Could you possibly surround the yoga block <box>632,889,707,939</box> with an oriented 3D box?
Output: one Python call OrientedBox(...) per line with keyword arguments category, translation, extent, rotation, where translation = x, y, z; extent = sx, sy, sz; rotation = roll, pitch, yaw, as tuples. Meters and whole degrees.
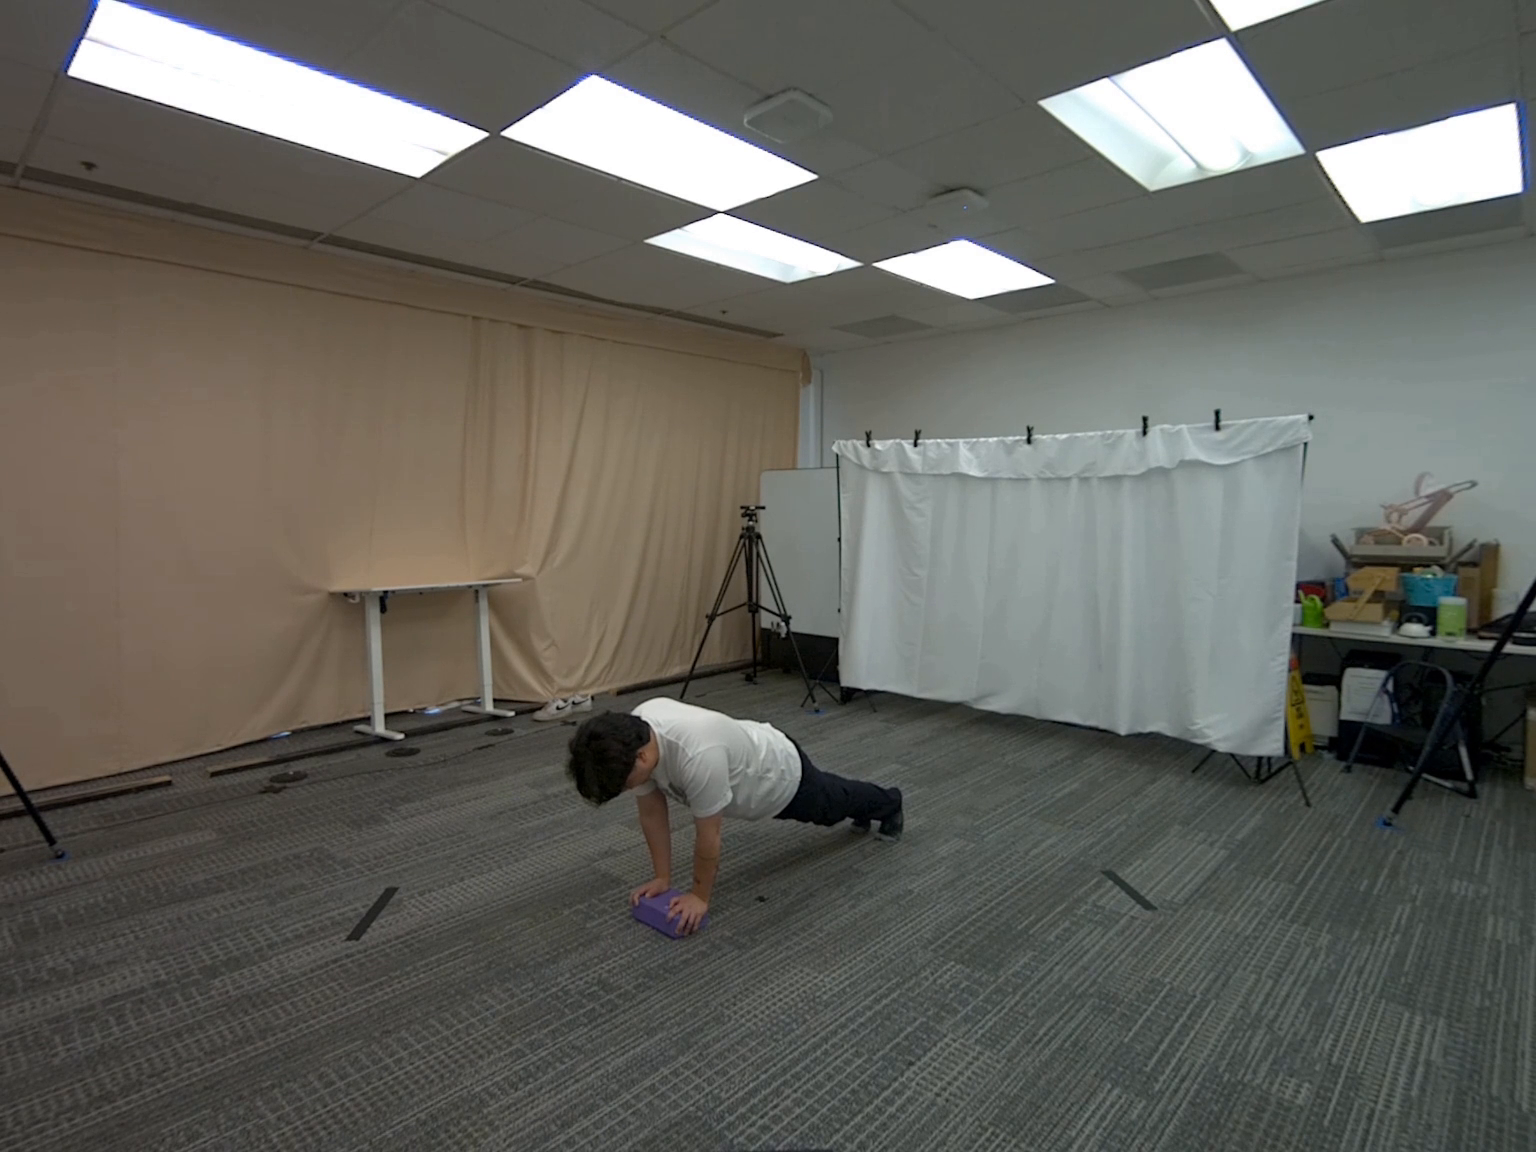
OrientedBox(category="yoga block", translation=(-0.329, 1.128, 2.827), extent=(0.237, 0.076, 0.144), rotation=(3, 5, 42))
